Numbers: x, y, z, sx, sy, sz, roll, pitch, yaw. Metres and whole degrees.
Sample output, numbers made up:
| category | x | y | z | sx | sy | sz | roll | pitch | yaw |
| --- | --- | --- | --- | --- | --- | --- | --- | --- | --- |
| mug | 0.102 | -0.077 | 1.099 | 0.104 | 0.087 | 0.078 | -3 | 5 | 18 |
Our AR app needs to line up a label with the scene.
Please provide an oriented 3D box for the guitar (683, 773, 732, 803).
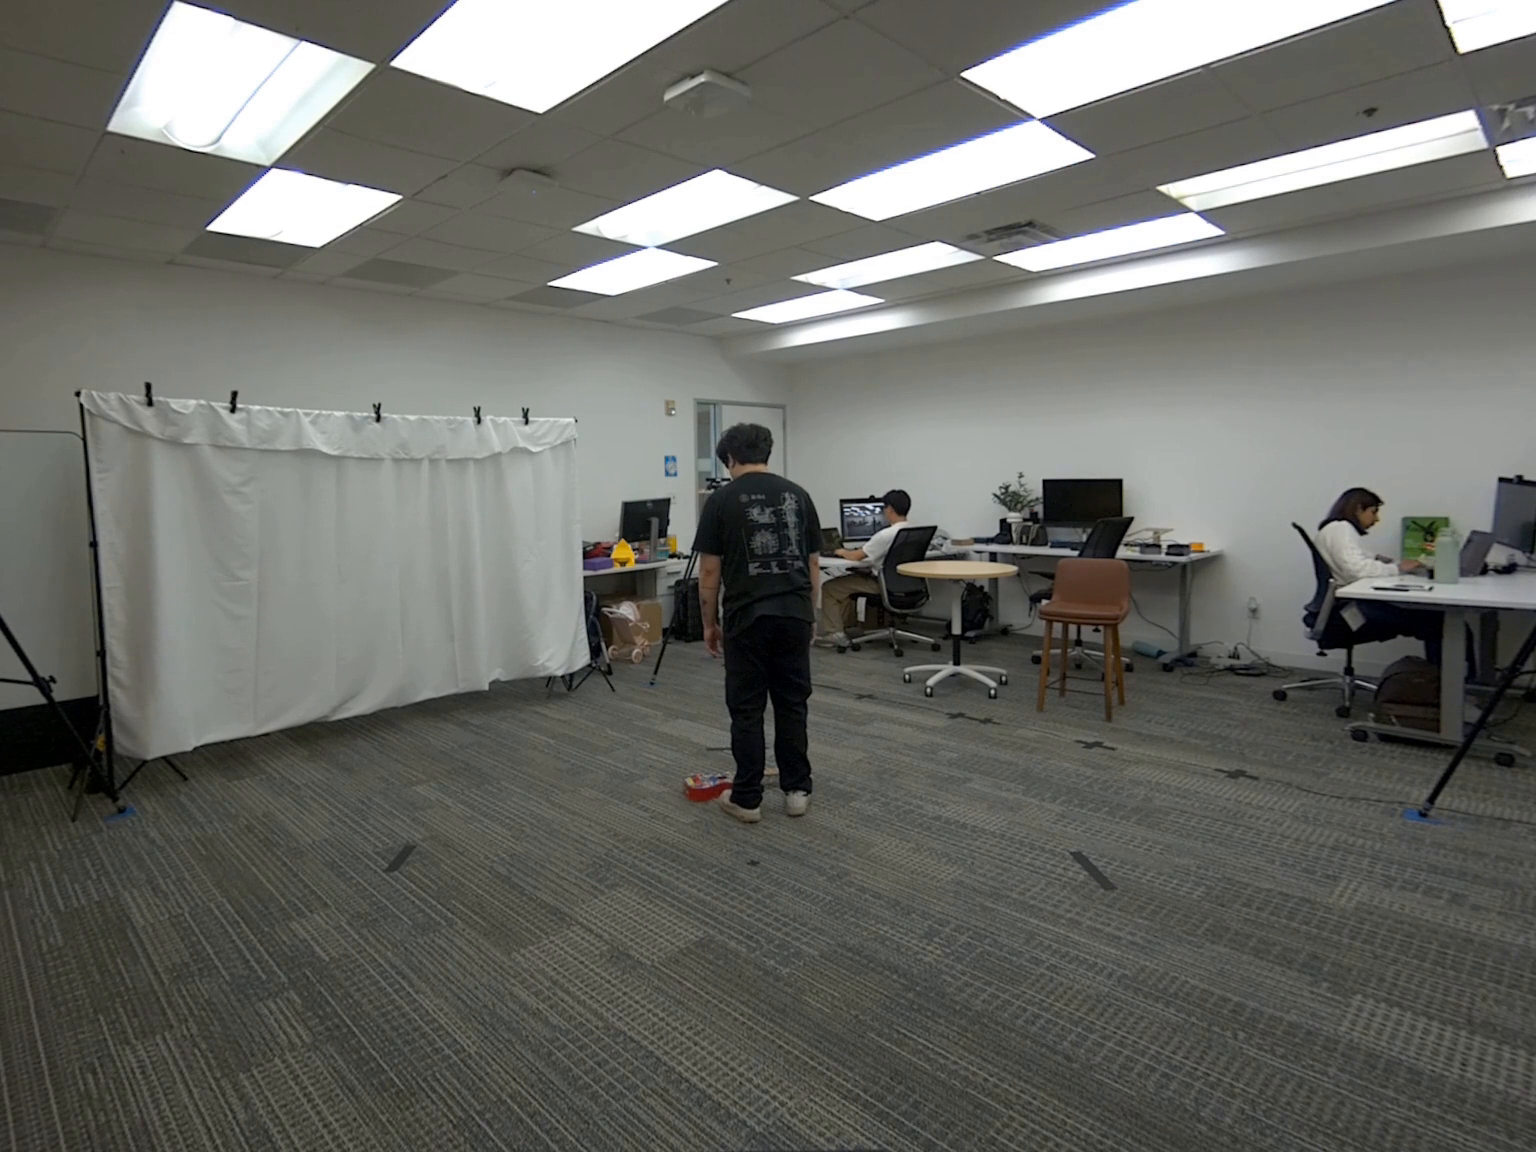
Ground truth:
| category | x | y | z | sx | sy | sz | roll | pitch | yaw |
| --- | --- | --- | --- | --- | --- | --- | --- | --- | --- |
| guitar | -0.128 | 0.927 | 3.822 | 0.494 | 0.070 | 0.195 | -2 | 5 | -7 |
